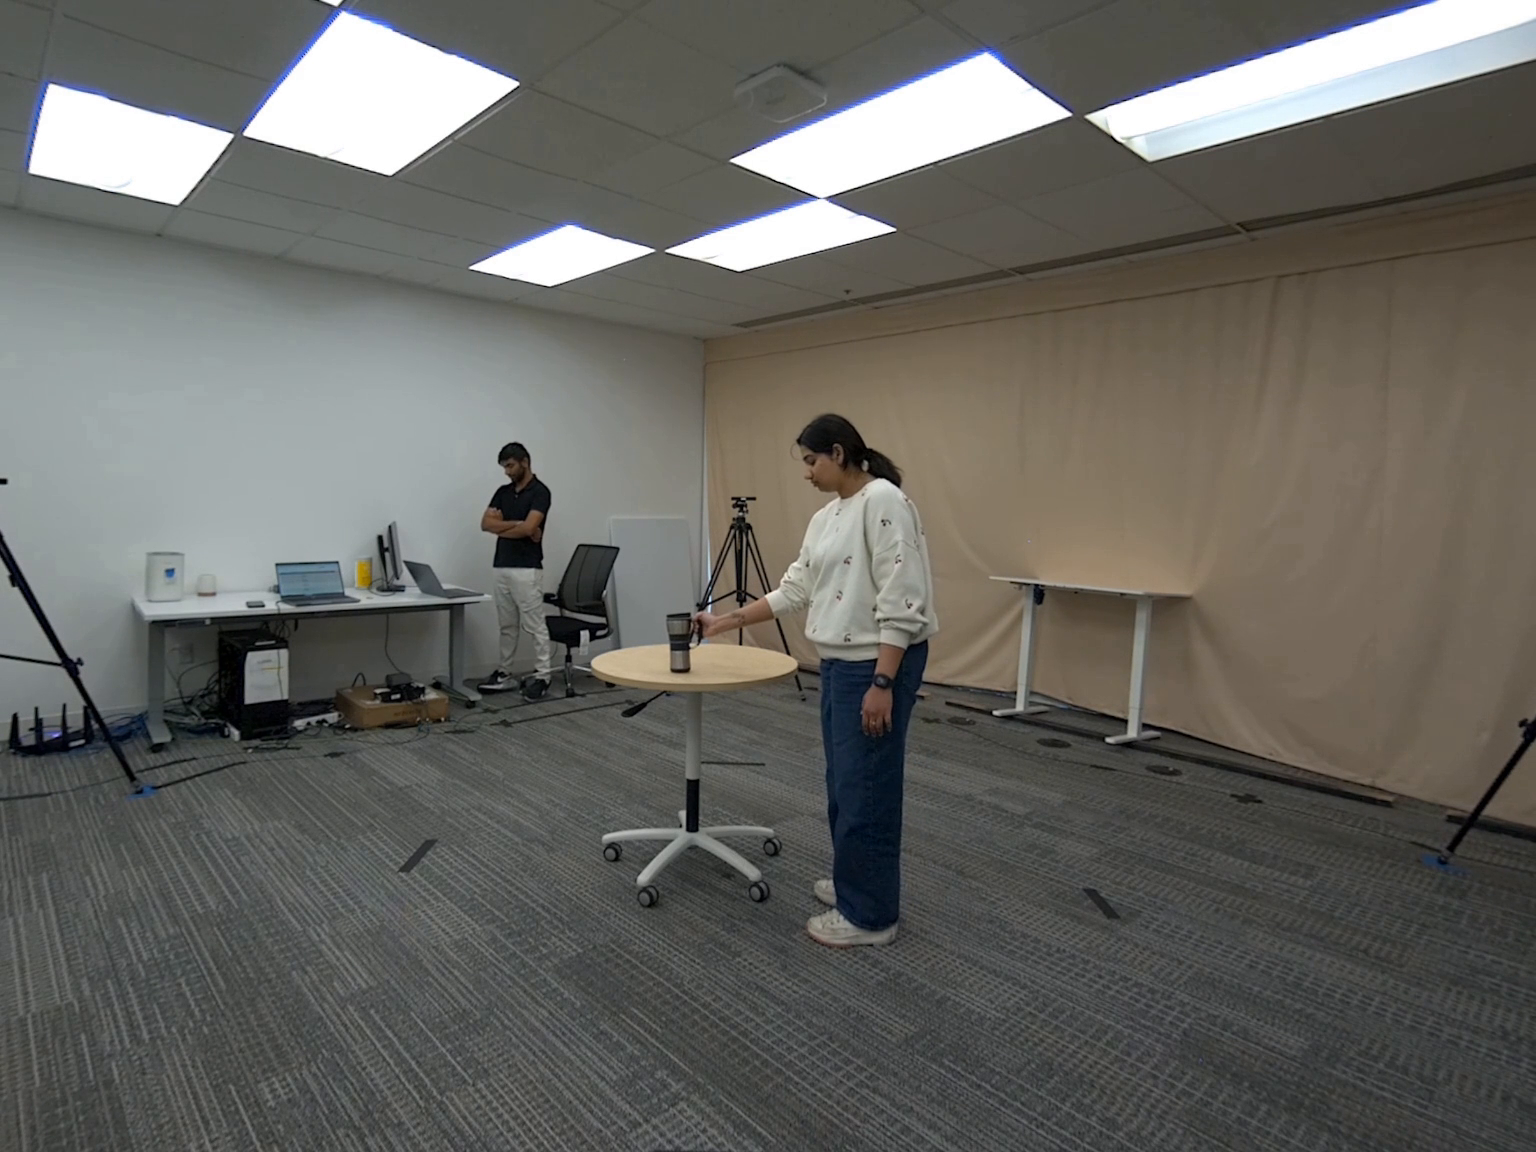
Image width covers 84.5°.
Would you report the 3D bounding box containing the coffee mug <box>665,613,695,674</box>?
[{"bbox_3d":[-0.297,0.235,2.929,0.086,0.203,0.125,5,-5,-41],"label":"coffee mug"}]
